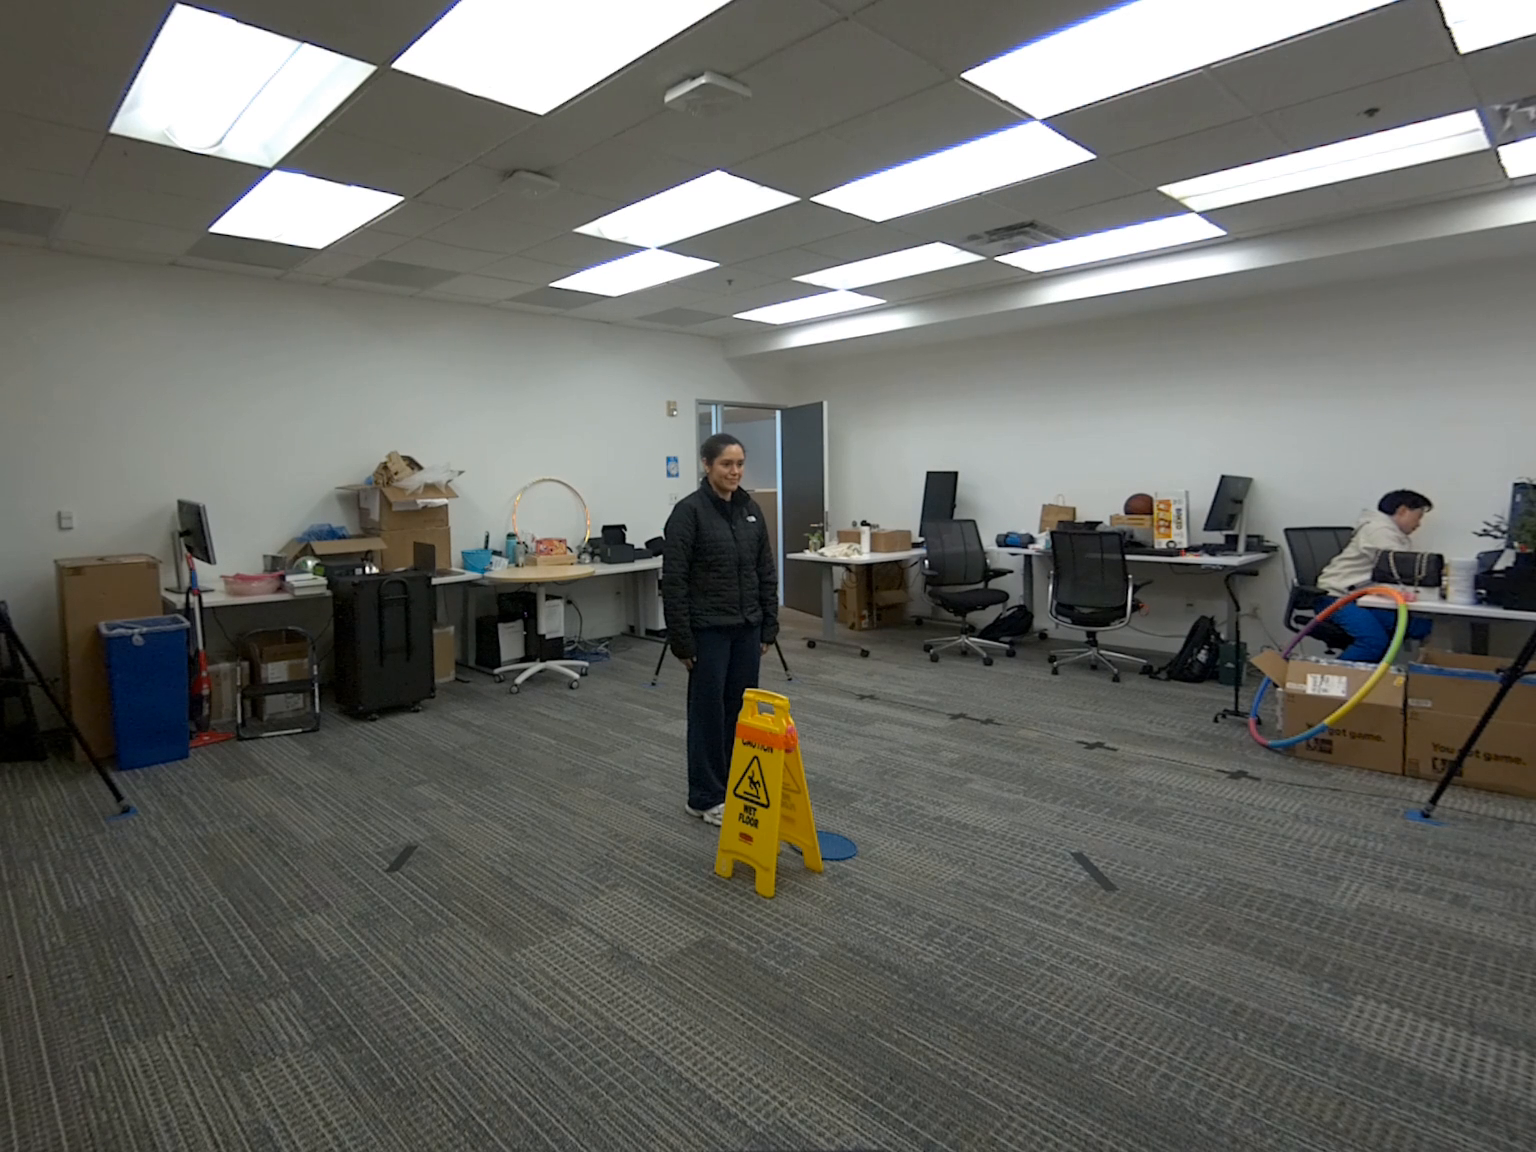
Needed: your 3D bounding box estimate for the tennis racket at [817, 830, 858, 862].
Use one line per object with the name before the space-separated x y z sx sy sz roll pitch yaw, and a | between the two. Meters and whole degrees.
tennis racket | 0.140 1.007 3.294 0.446 0.031 0.208 6 8 35
